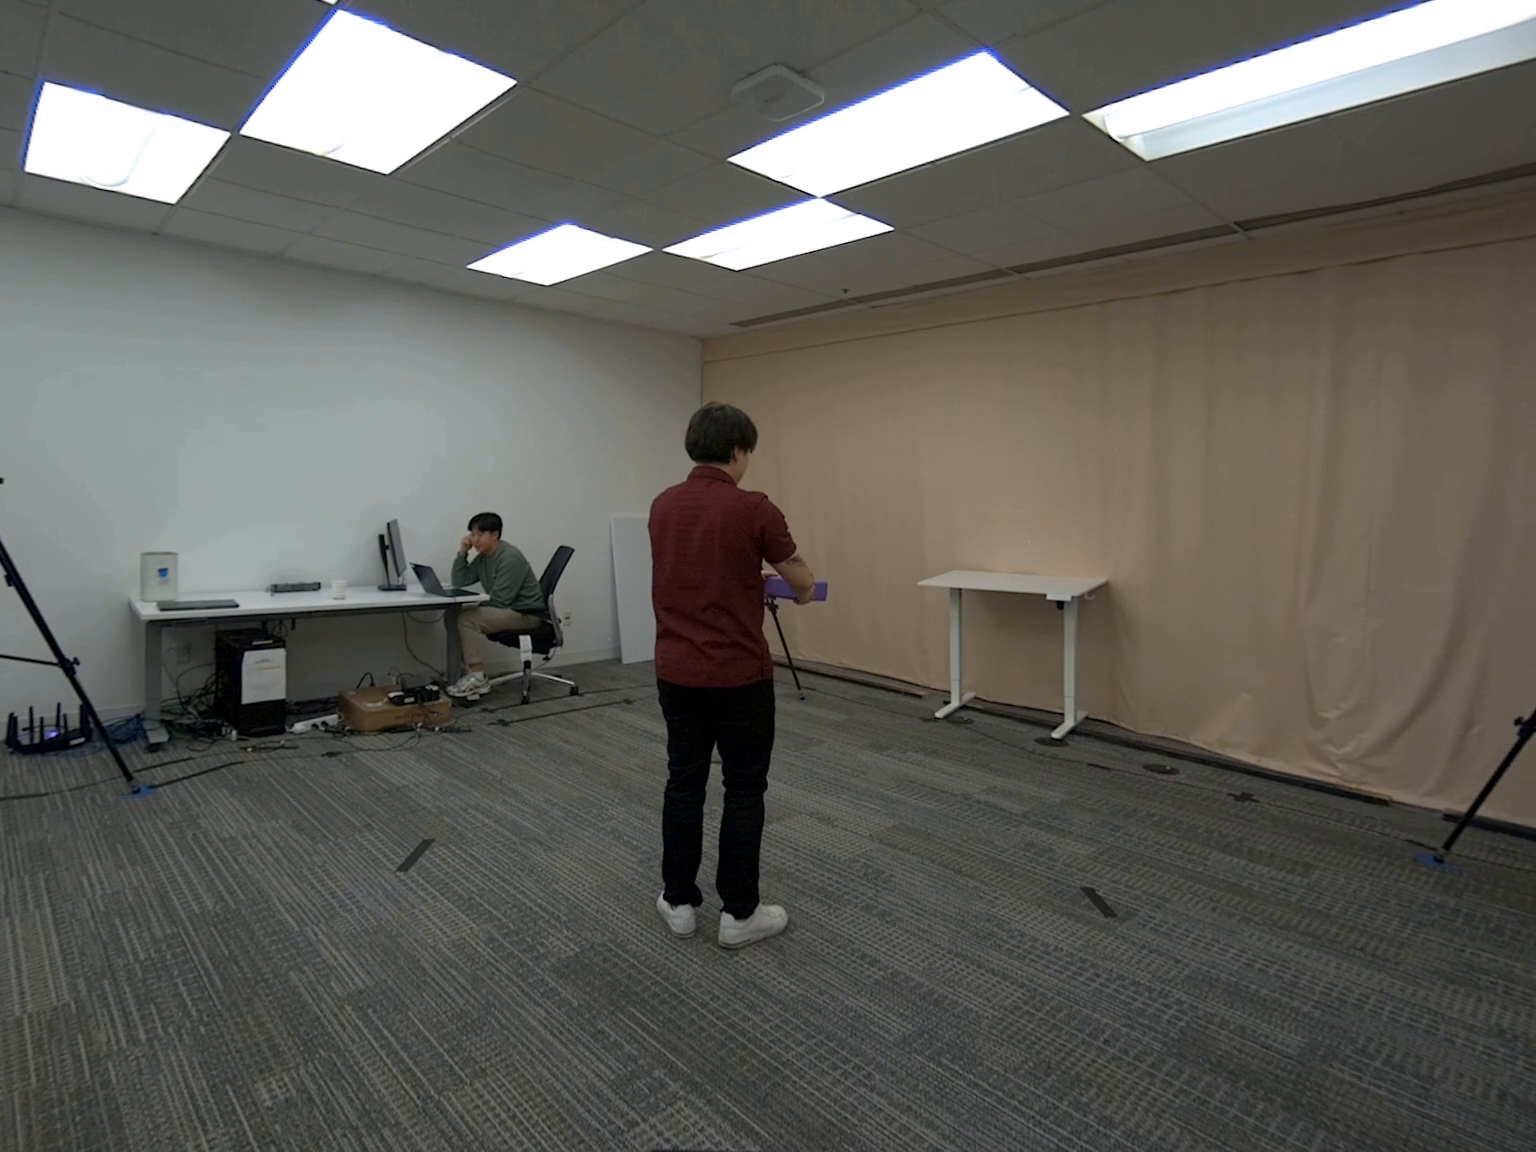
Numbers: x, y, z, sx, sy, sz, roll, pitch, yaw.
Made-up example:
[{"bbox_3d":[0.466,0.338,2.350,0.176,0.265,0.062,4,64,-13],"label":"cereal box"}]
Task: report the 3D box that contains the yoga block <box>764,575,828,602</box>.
[{"bbox_3d":[0.107,0.037,3.143,0.152,0.076,0.224,6,4,32],"label":"yoga block"}]
